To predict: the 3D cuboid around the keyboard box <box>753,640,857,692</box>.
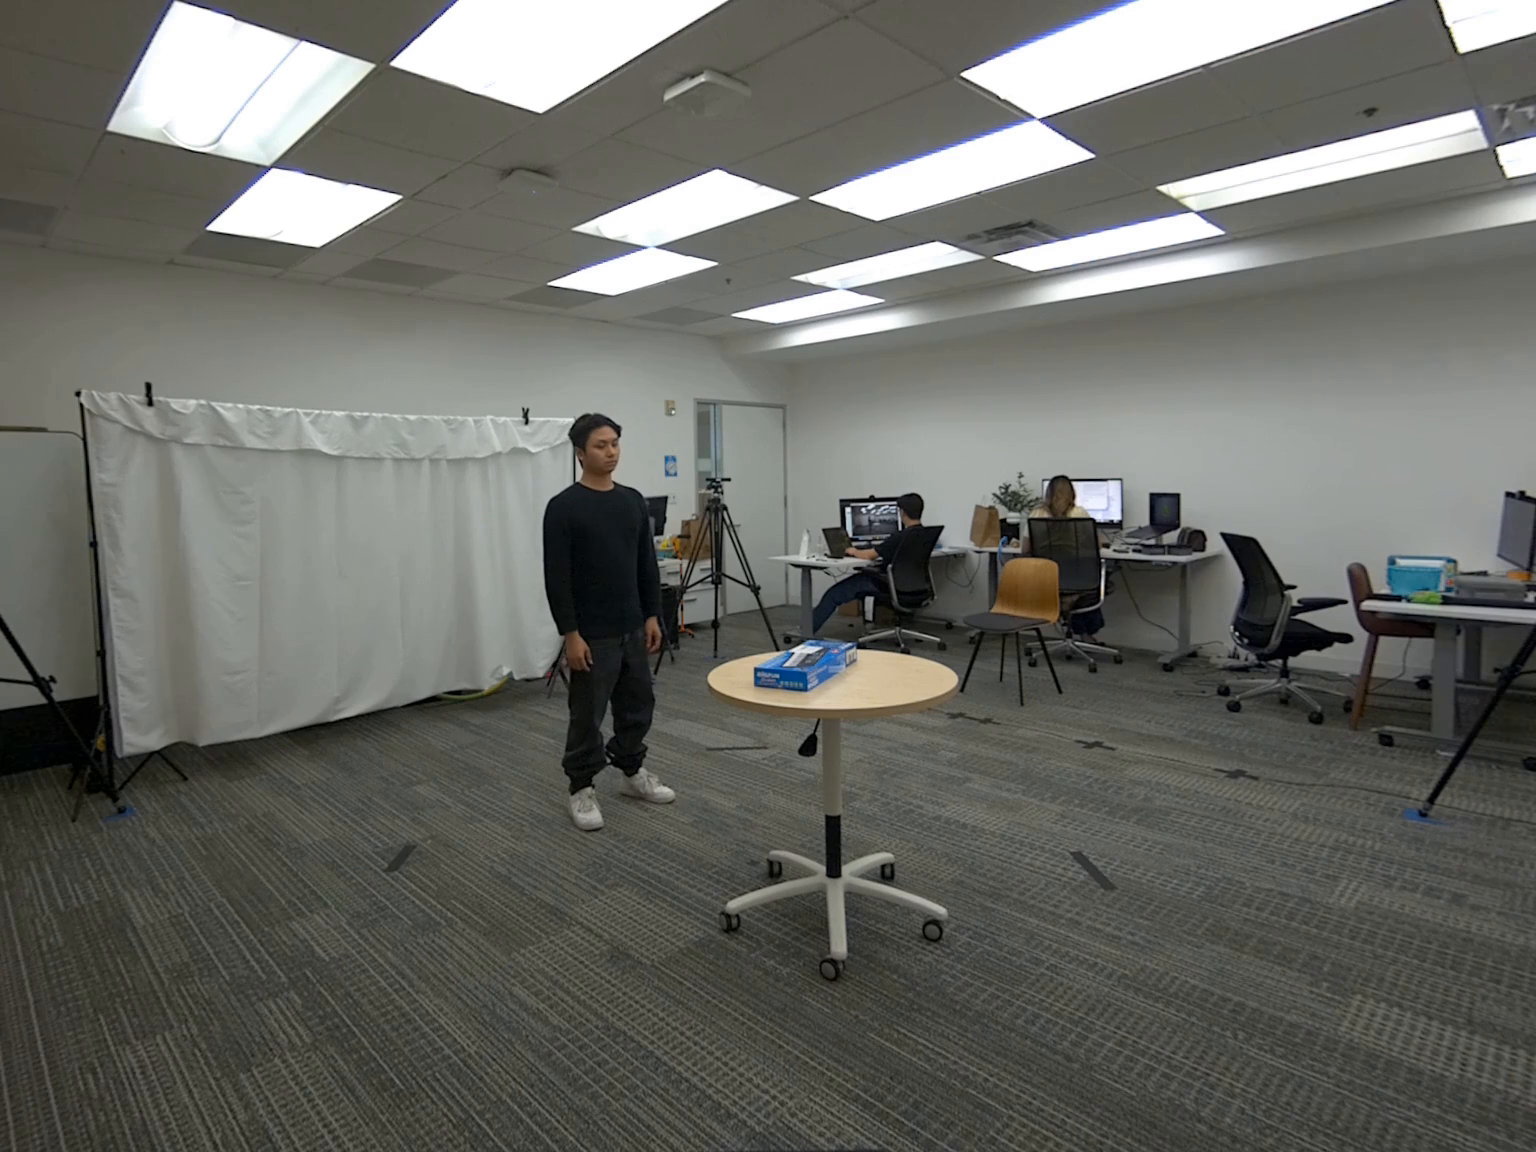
[{"bbox_3d":[0.128,0.274,2.686,0.180,0.059,0.429,1,7,25],"label":"keyboard box"}]
